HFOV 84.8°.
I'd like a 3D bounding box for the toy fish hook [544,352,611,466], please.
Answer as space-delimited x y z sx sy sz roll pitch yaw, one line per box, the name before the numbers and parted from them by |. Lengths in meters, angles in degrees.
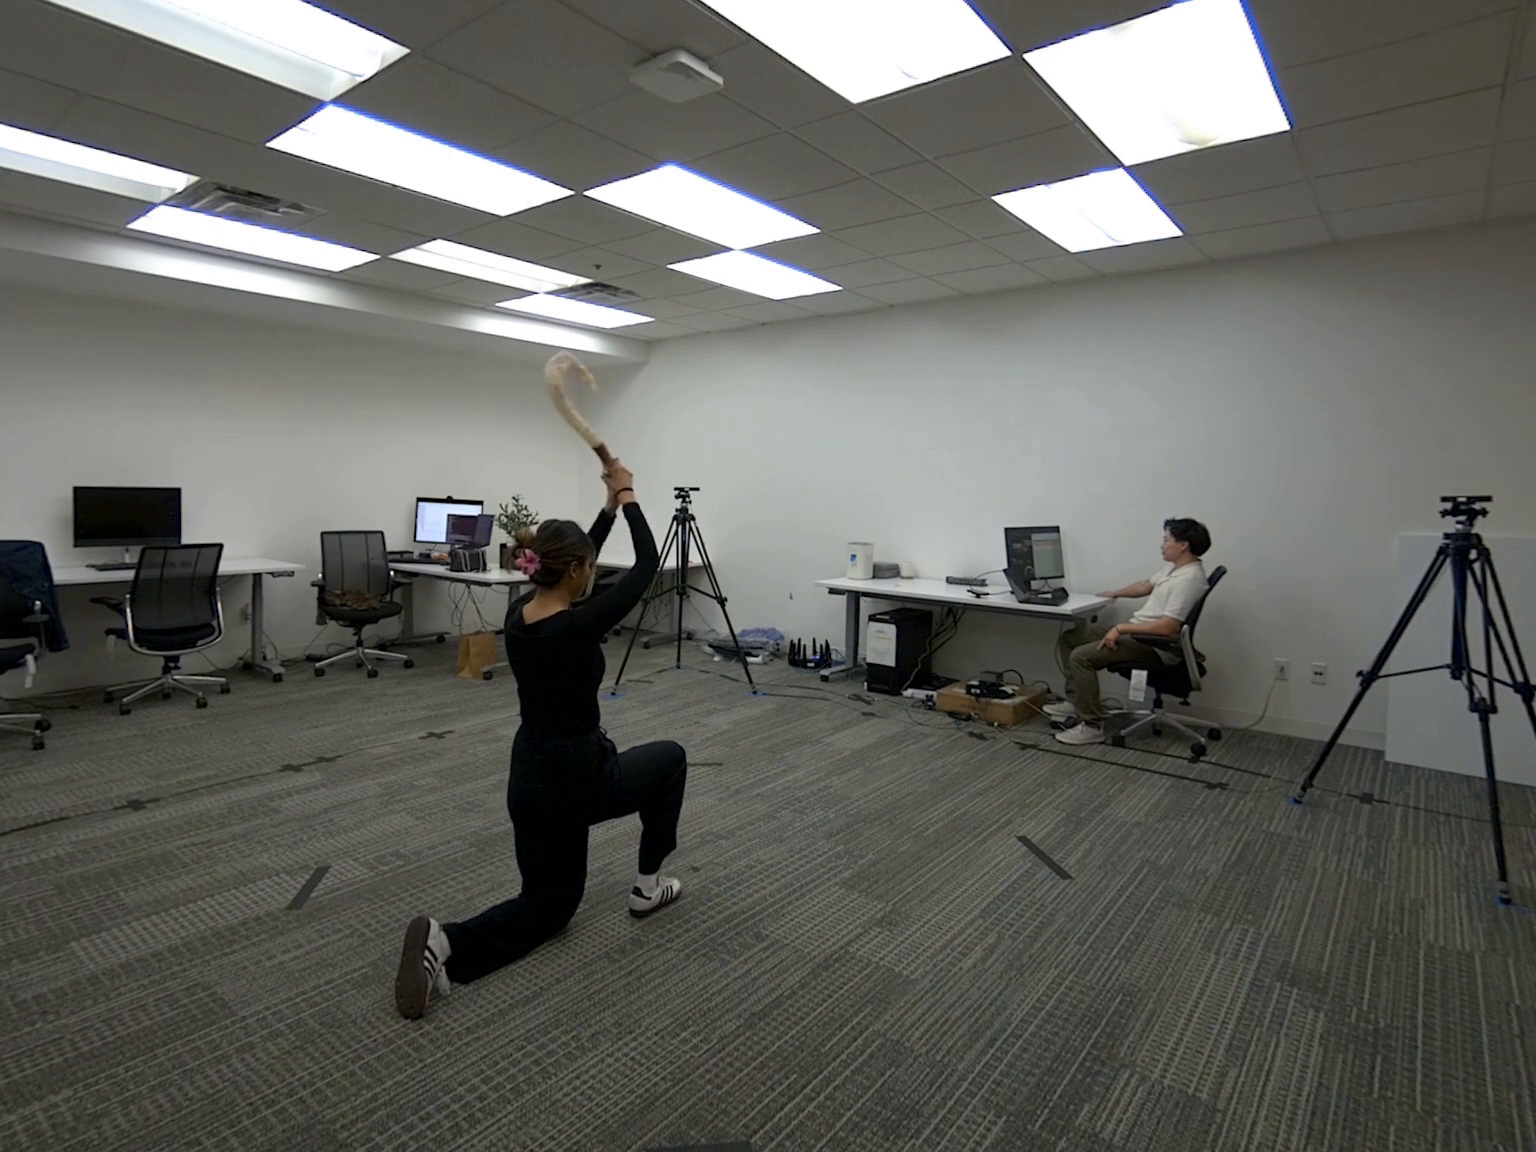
toy fish hook | -0.565 -0.453 2.794 0.049 0.489 0.226 -5 36 31
